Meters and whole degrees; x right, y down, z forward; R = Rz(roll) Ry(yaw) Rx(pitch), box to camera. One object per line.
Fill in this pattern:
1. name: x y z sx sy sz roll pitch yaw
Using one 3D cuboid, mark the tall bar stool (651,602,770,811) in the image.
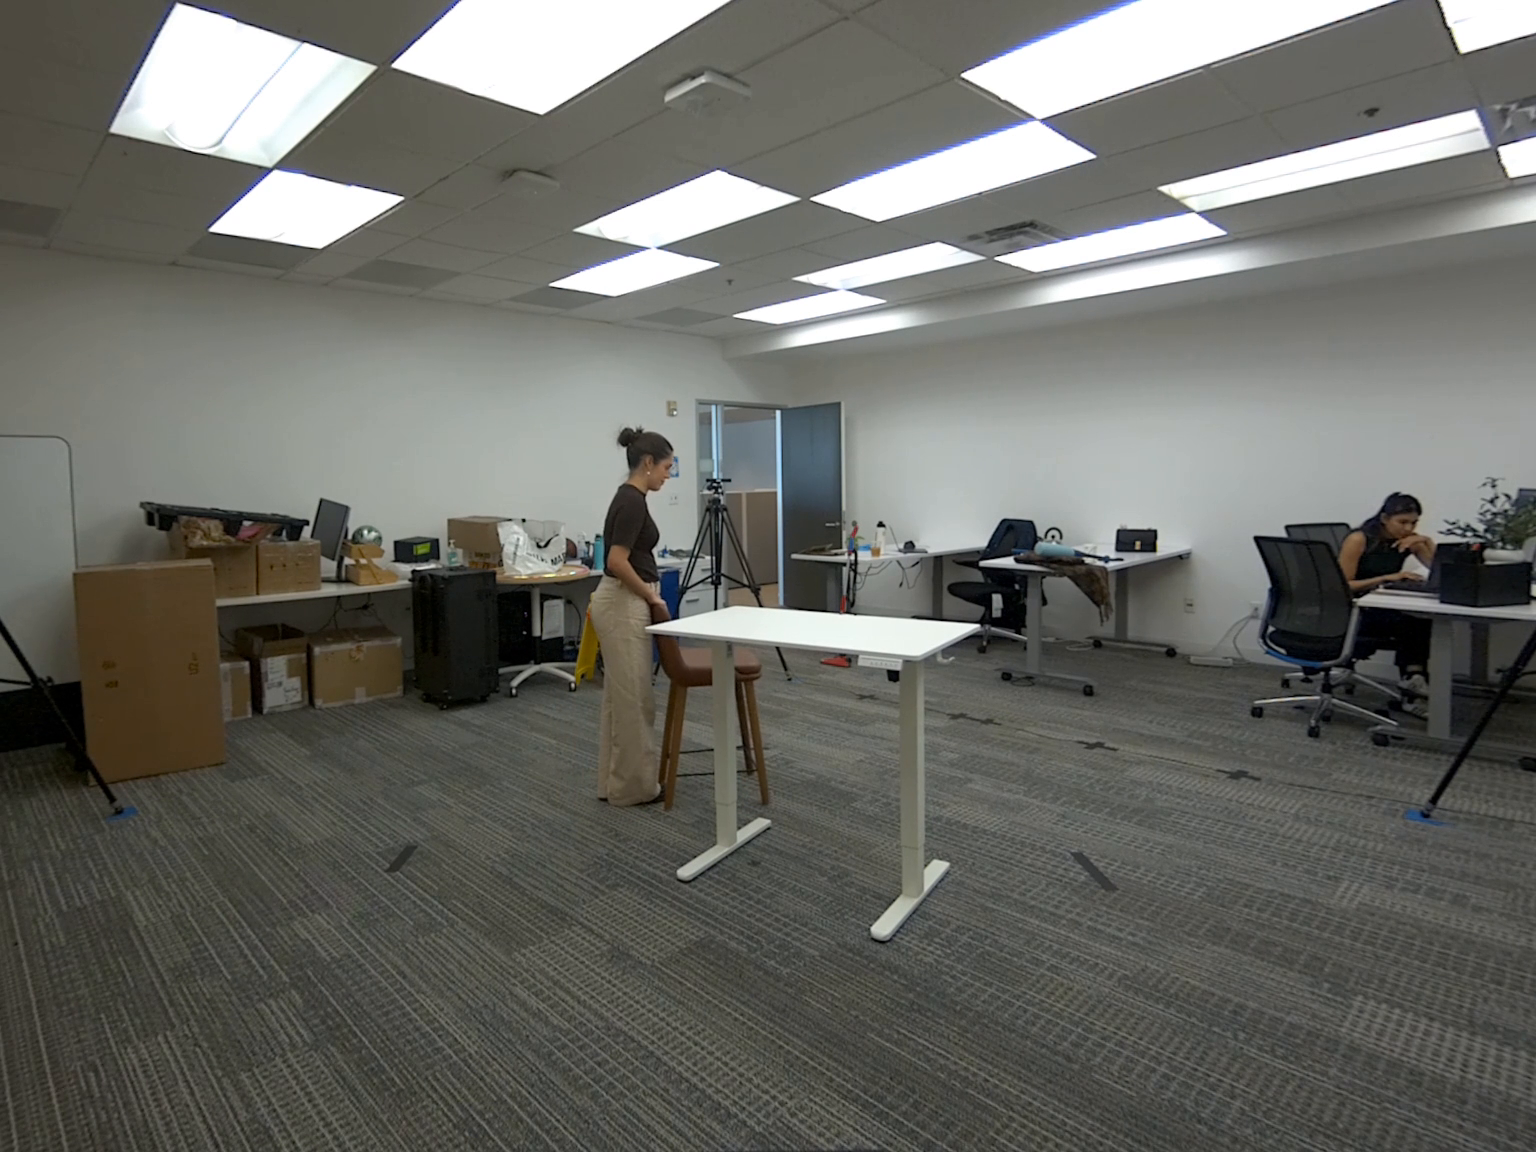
1. tall bar stool: -0.271 0.536 3.805 0.464 0.888 0.461 -4 3 -10
